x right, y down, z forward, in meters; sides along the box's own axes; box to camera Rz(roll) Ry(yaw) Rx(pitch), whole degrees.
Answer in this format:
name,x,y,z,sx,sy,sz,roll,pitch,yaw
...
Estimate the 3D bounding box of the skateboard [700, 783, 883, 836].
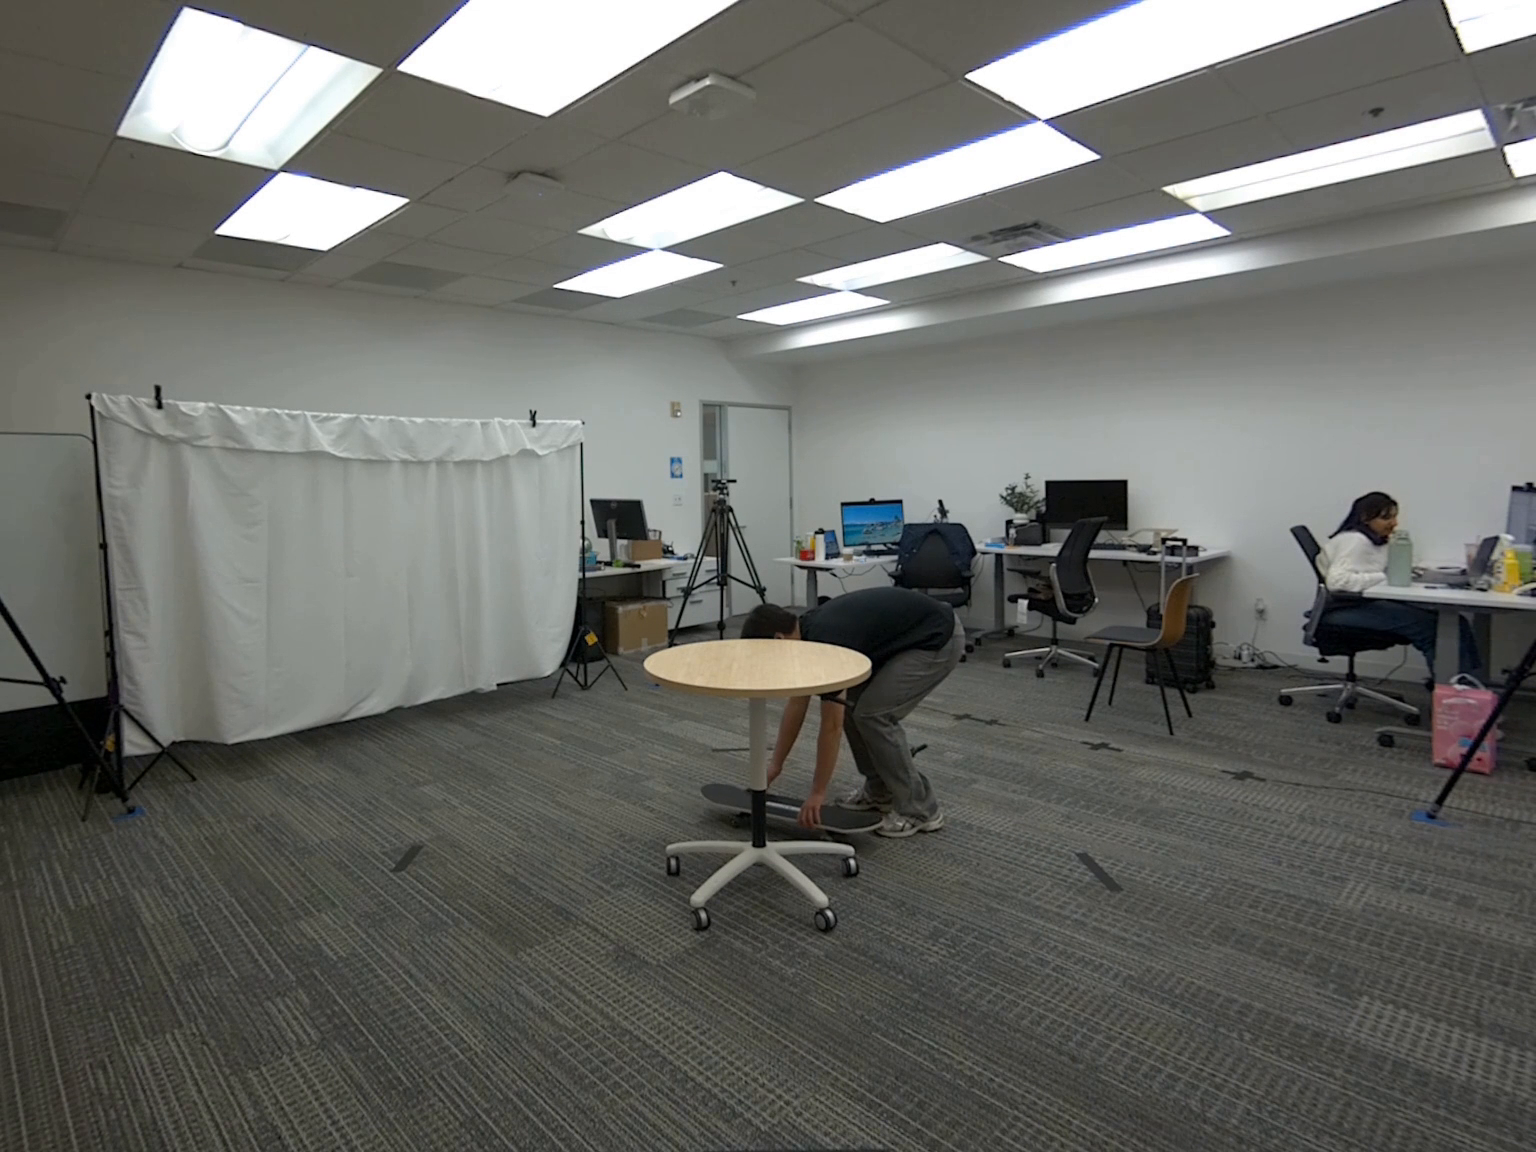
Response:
name,x,y,z,sx,sy,sz,roll,pitch,yaw
skateboard,0.085,0.953,3.395,0.806,0.110,0.189,2,8,29
